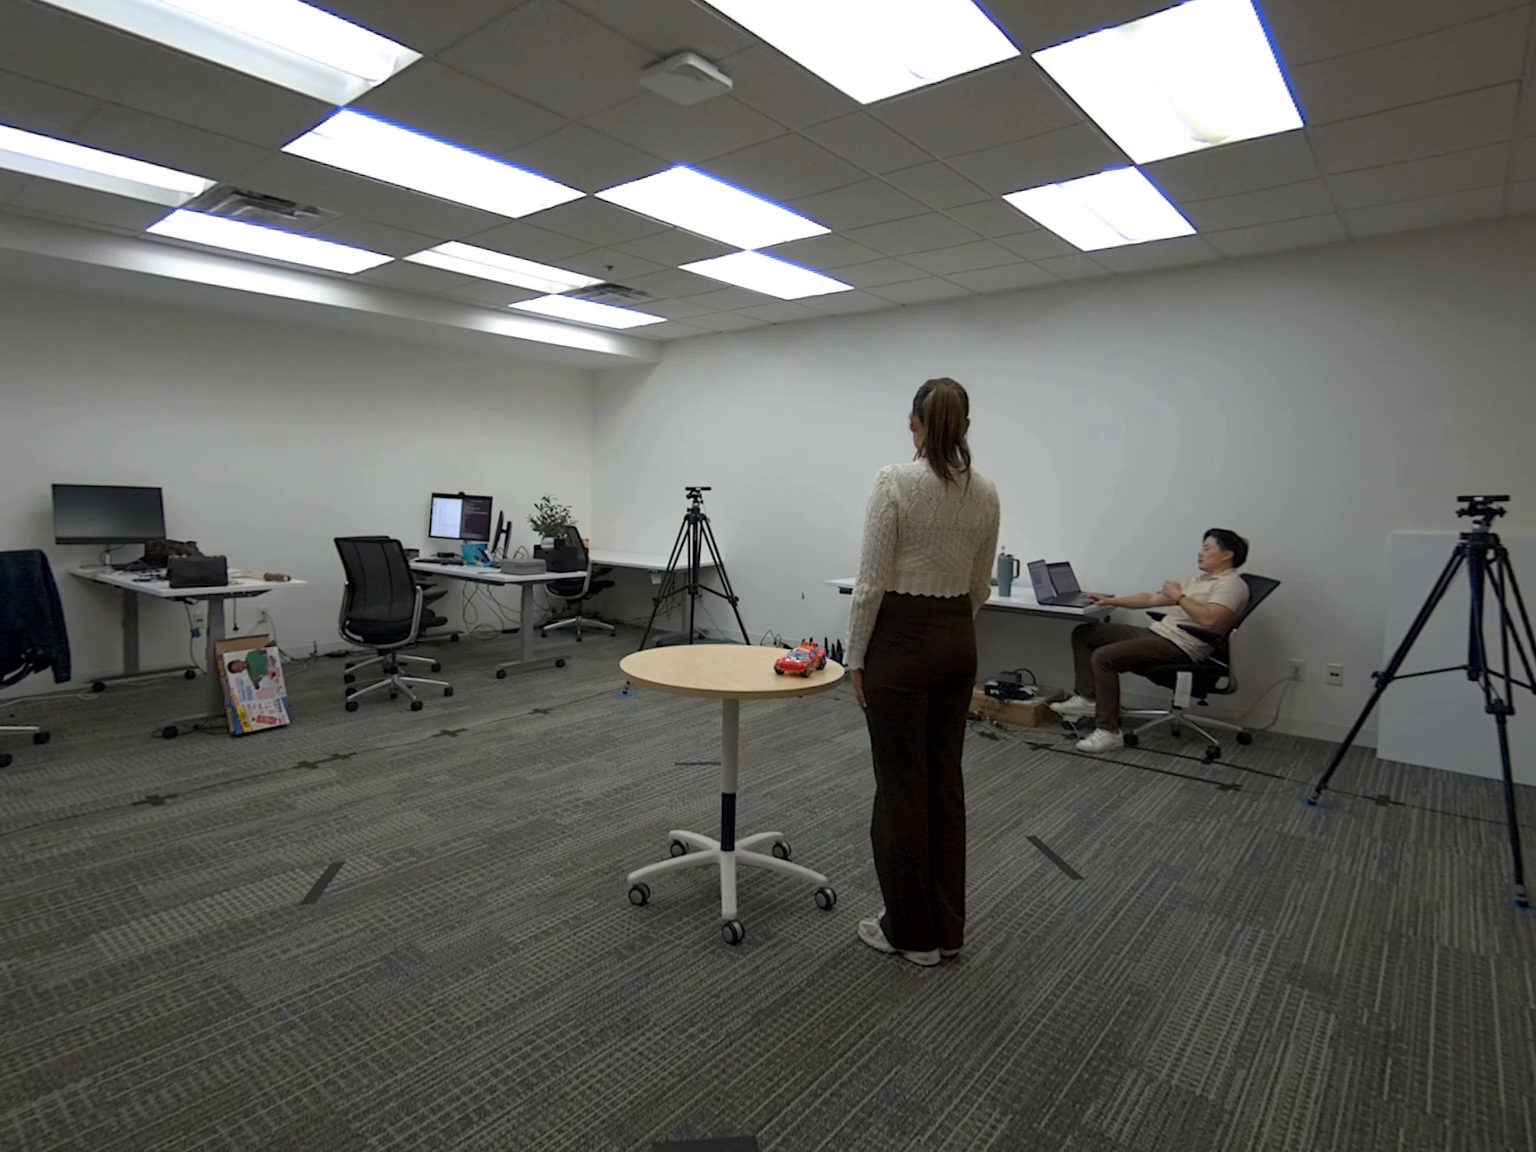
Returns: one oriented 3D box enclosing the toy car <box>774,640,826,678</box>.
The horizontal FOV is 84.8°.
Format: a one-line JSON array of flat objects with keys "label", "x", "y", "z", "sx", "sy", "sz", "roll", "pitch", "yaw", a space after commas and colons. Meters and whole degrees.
[{"label": "toy car", "x": 0.110, "y": 0.282, "z": 2.851, "sx": 0.134, "sy": 0.082, "sz": 0.252, "roll": 4, "pitch": 18, "yaw": 24}]
